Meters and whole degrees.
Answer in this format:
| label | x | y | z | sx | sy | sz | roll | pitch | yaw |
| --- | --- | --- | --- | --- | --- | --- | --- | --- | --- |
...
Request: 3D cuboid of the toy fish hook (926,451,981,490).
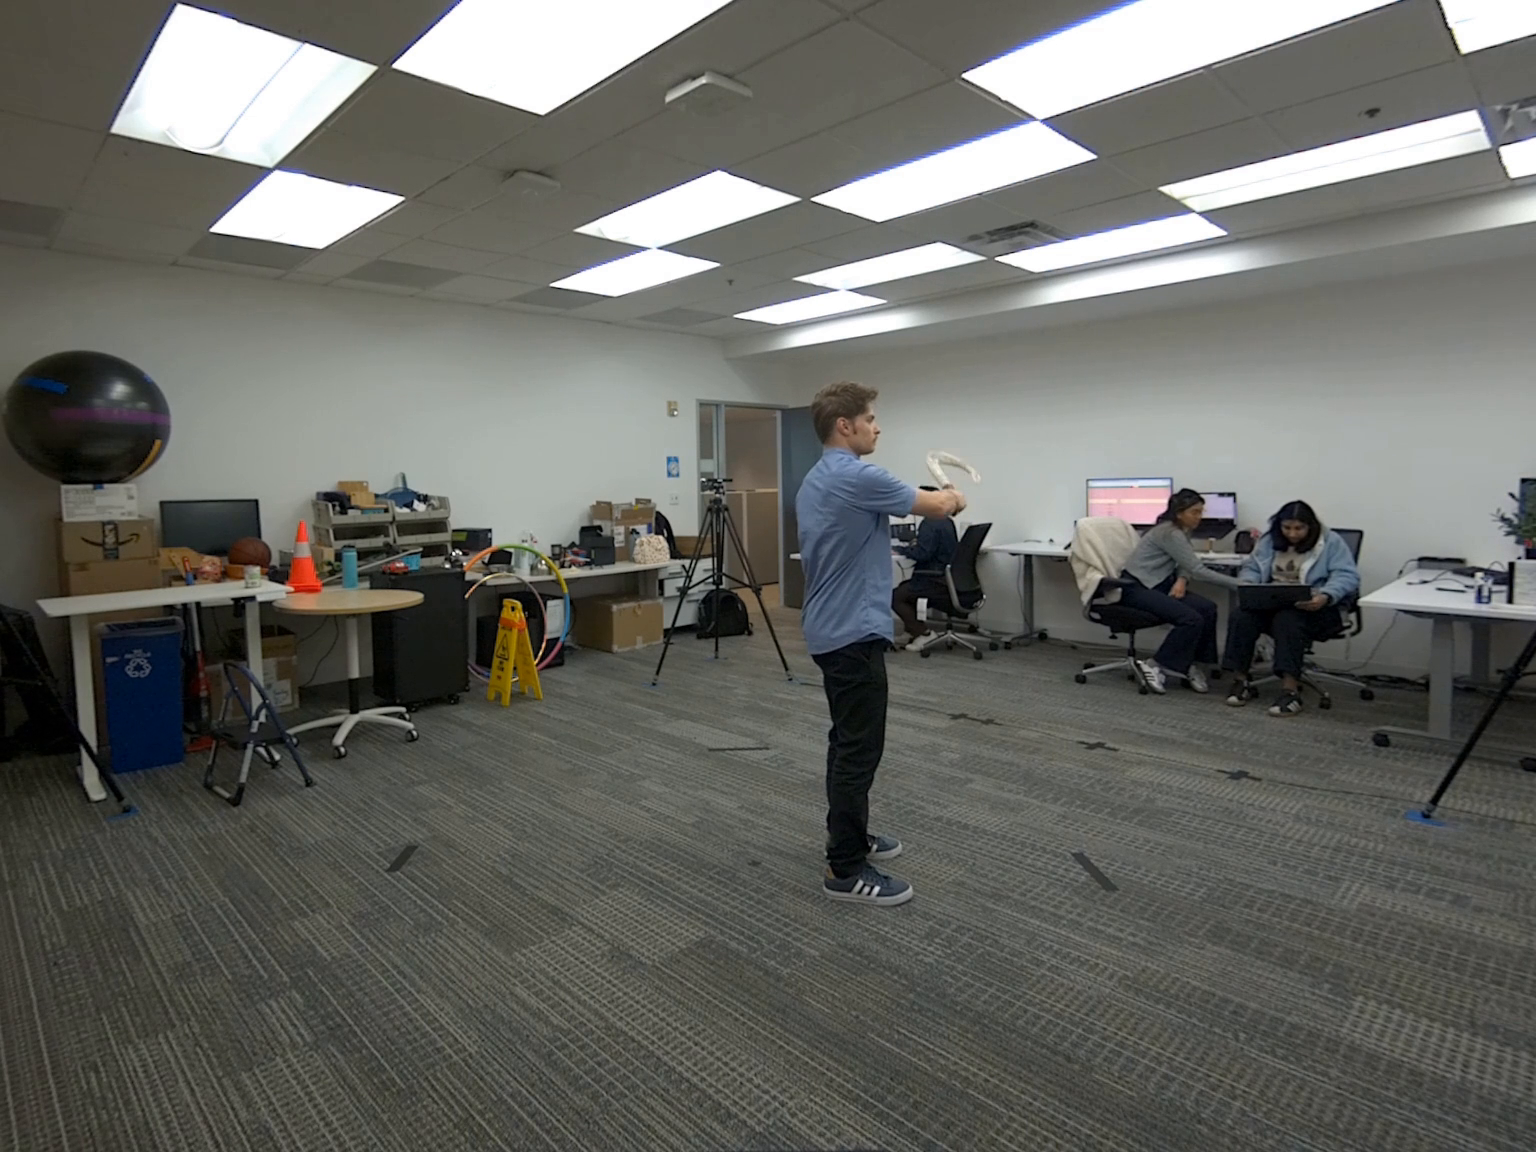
| label | x | y | z | sx | sy | sz | roll | pitch | yaw |
| --- | --- | --- | --- | --- | --- | --- | --- | --- | --- |
| toy fish hook | 0.747 | -0.343 | 3.332 | 0.224 | 0.047 | 0.517 | 12 | 36 | -3 |
